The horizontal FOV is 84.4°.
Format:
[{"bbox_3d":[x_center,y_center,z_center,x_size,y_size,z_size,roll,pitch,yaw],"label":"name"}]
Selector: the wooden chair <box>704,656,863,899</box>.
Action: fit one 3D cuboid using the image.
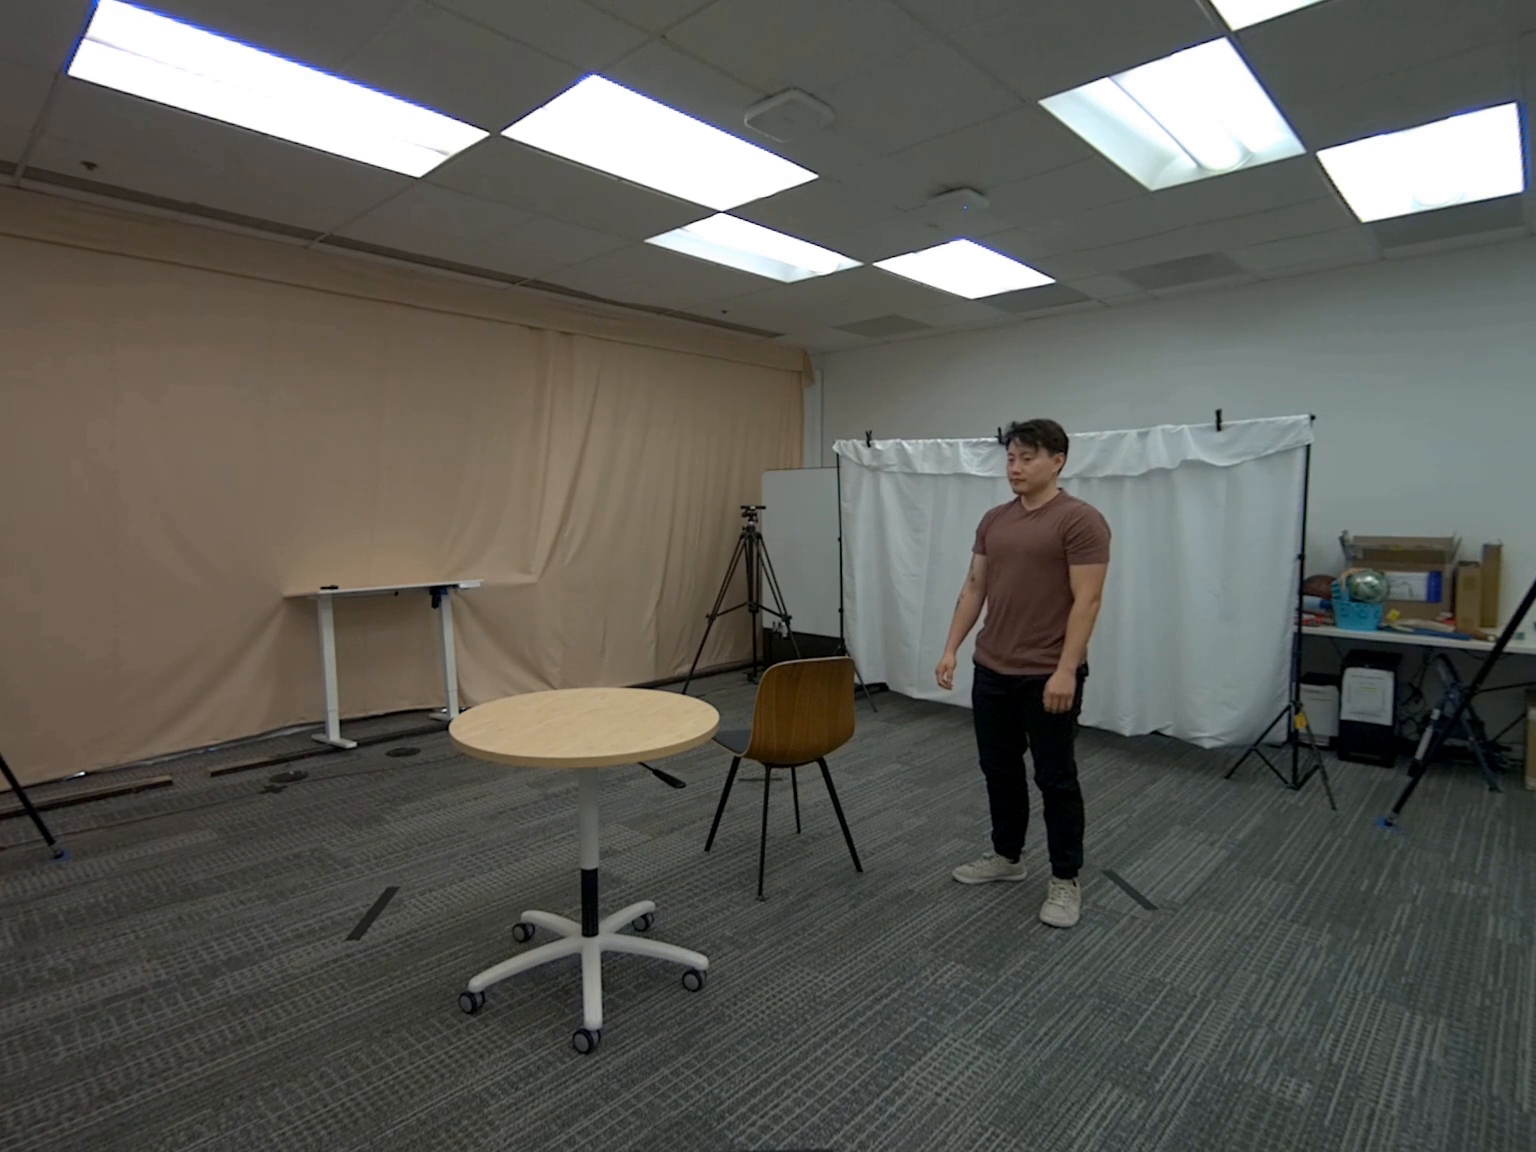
[{"bbox_3d":[0.048,0.693,3.273,0.466,0.873,0.539,-3,8,-28],"label":"wooden chair"}]
